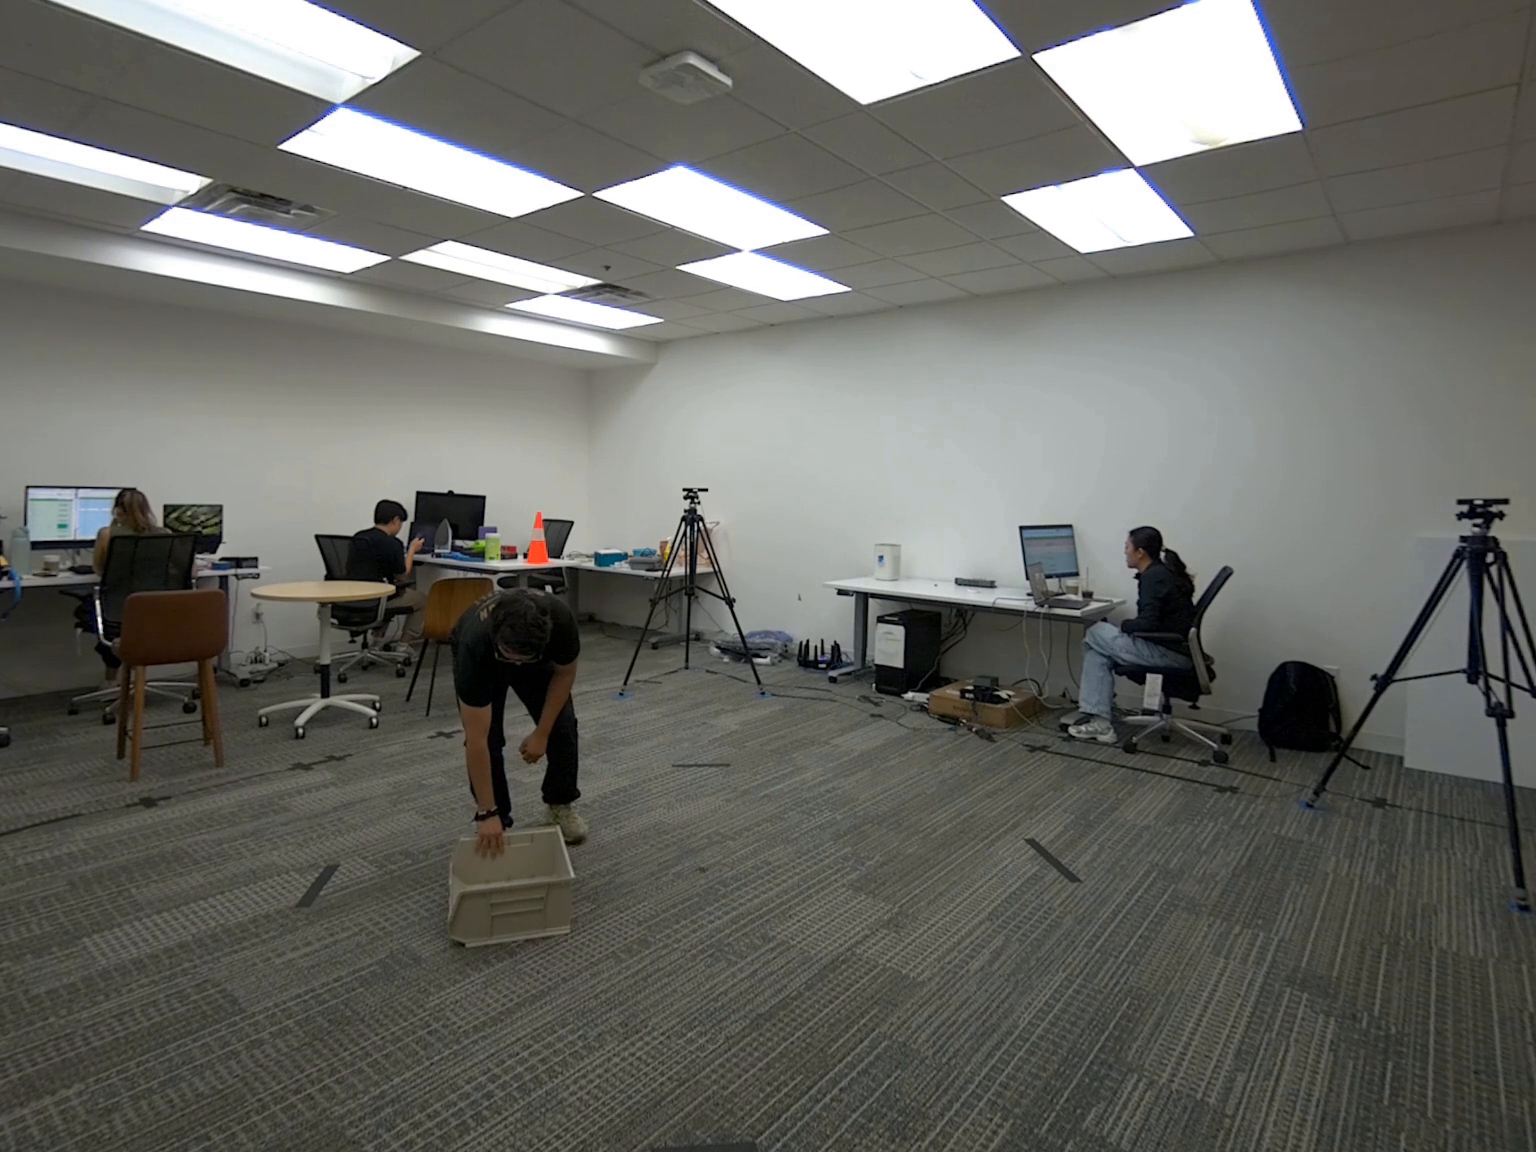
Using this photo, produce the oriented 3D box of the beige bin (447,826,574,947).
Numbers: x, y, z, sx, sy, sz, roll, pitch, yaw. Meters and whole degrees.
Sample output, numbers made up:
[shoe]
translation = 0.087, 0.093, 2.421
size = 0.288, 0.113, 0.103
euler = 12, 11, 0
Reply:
[beige bin]
translation = -0.858, 1.001, 2.775
size = 0.370, 0.188, 0.432
euler = 1, 4, -20
